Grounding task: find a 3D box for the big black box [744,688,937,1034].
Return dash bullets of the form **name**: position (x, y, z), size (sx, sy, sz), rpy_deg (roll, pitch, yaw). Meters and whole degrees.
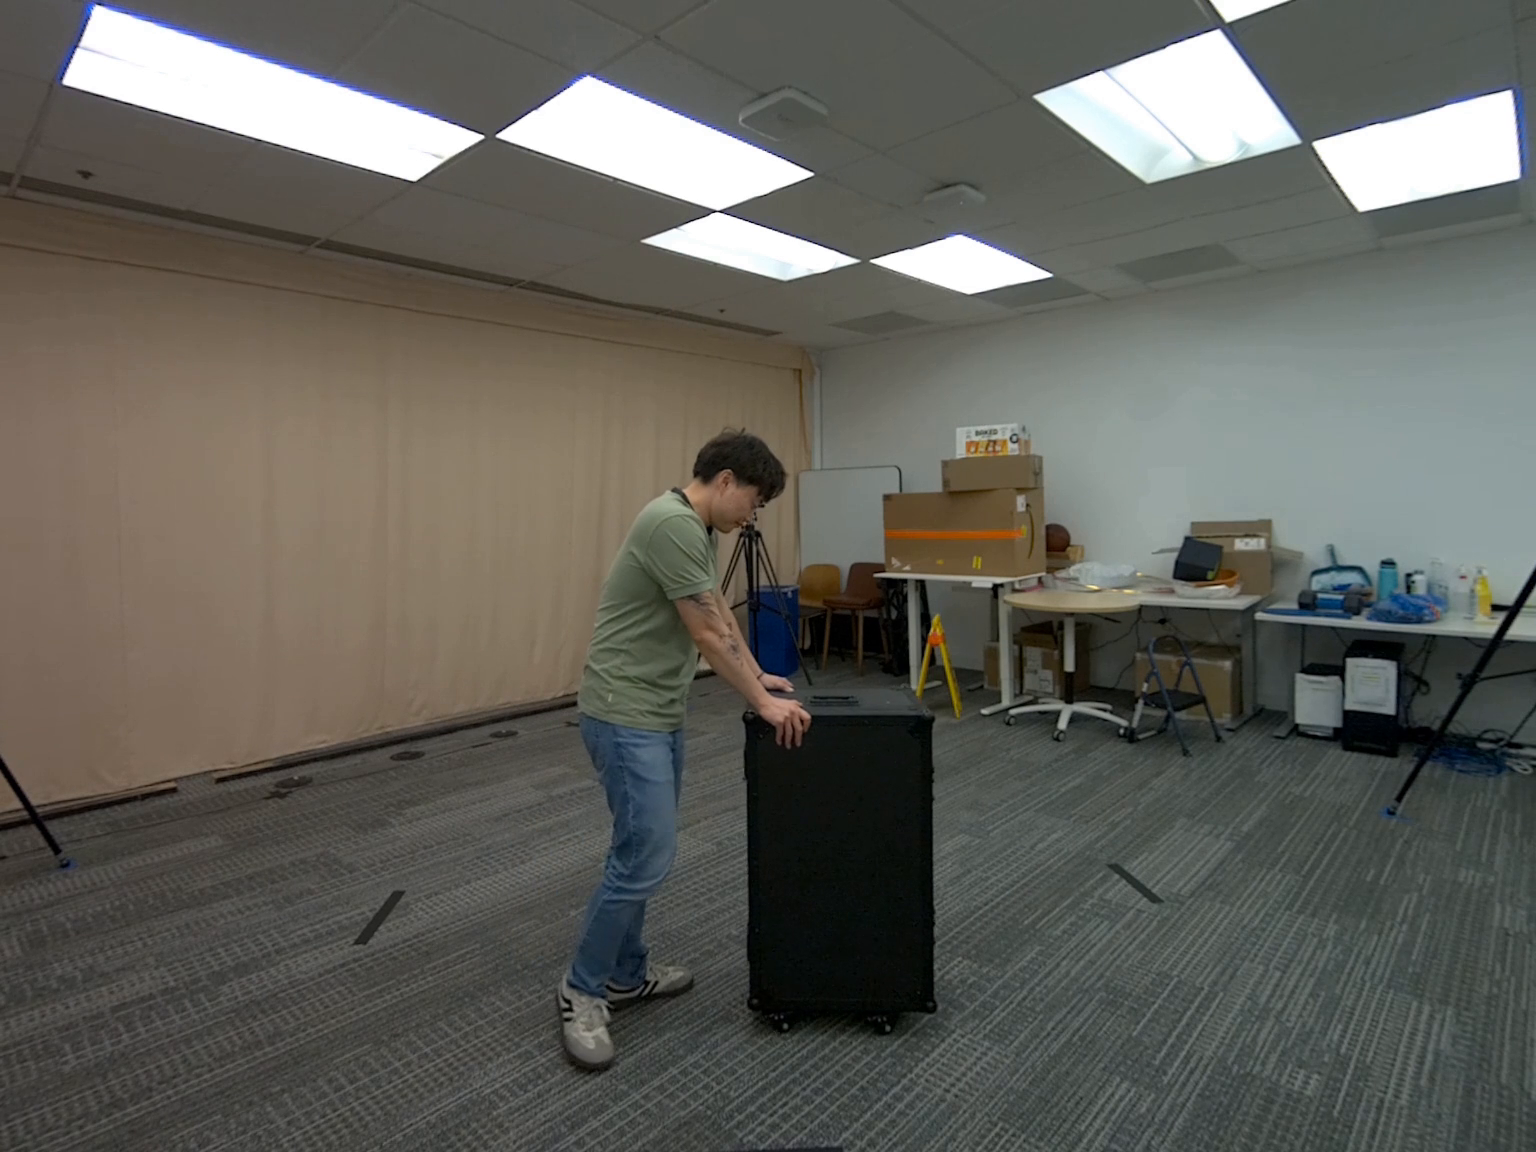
- **big black box**: position (0.189, 0.779, 2.354), size (0.523, 0.860, 0.396), rpy_deg (0, 2, 2)
